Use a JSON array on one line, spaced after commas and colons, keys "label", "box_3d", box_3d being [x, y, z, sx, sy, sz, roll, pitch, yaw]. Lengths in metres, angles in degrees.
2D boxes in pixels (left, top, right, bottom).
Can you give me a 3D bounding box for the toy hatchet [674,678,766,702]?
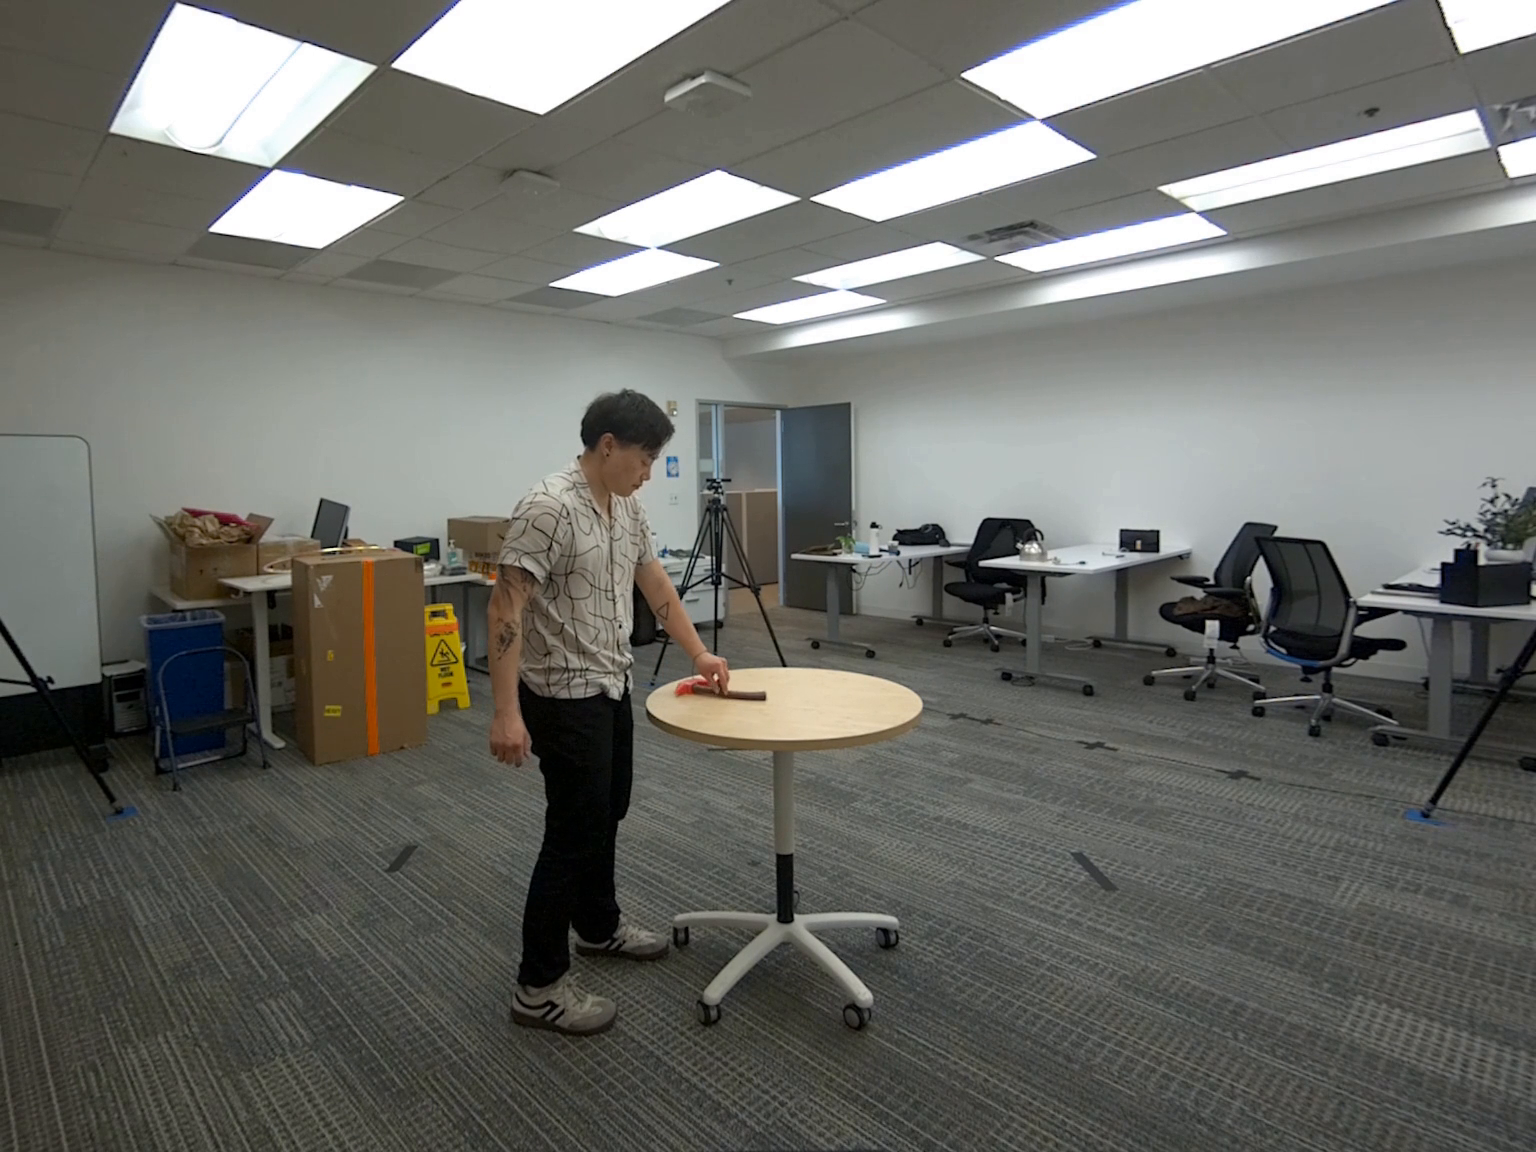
[{"label": "toy hatchet", "box_3d": [-0.122, 0.325, 2.448, 0.273, 0.029, 0.130, 2, 11, 12]}]
